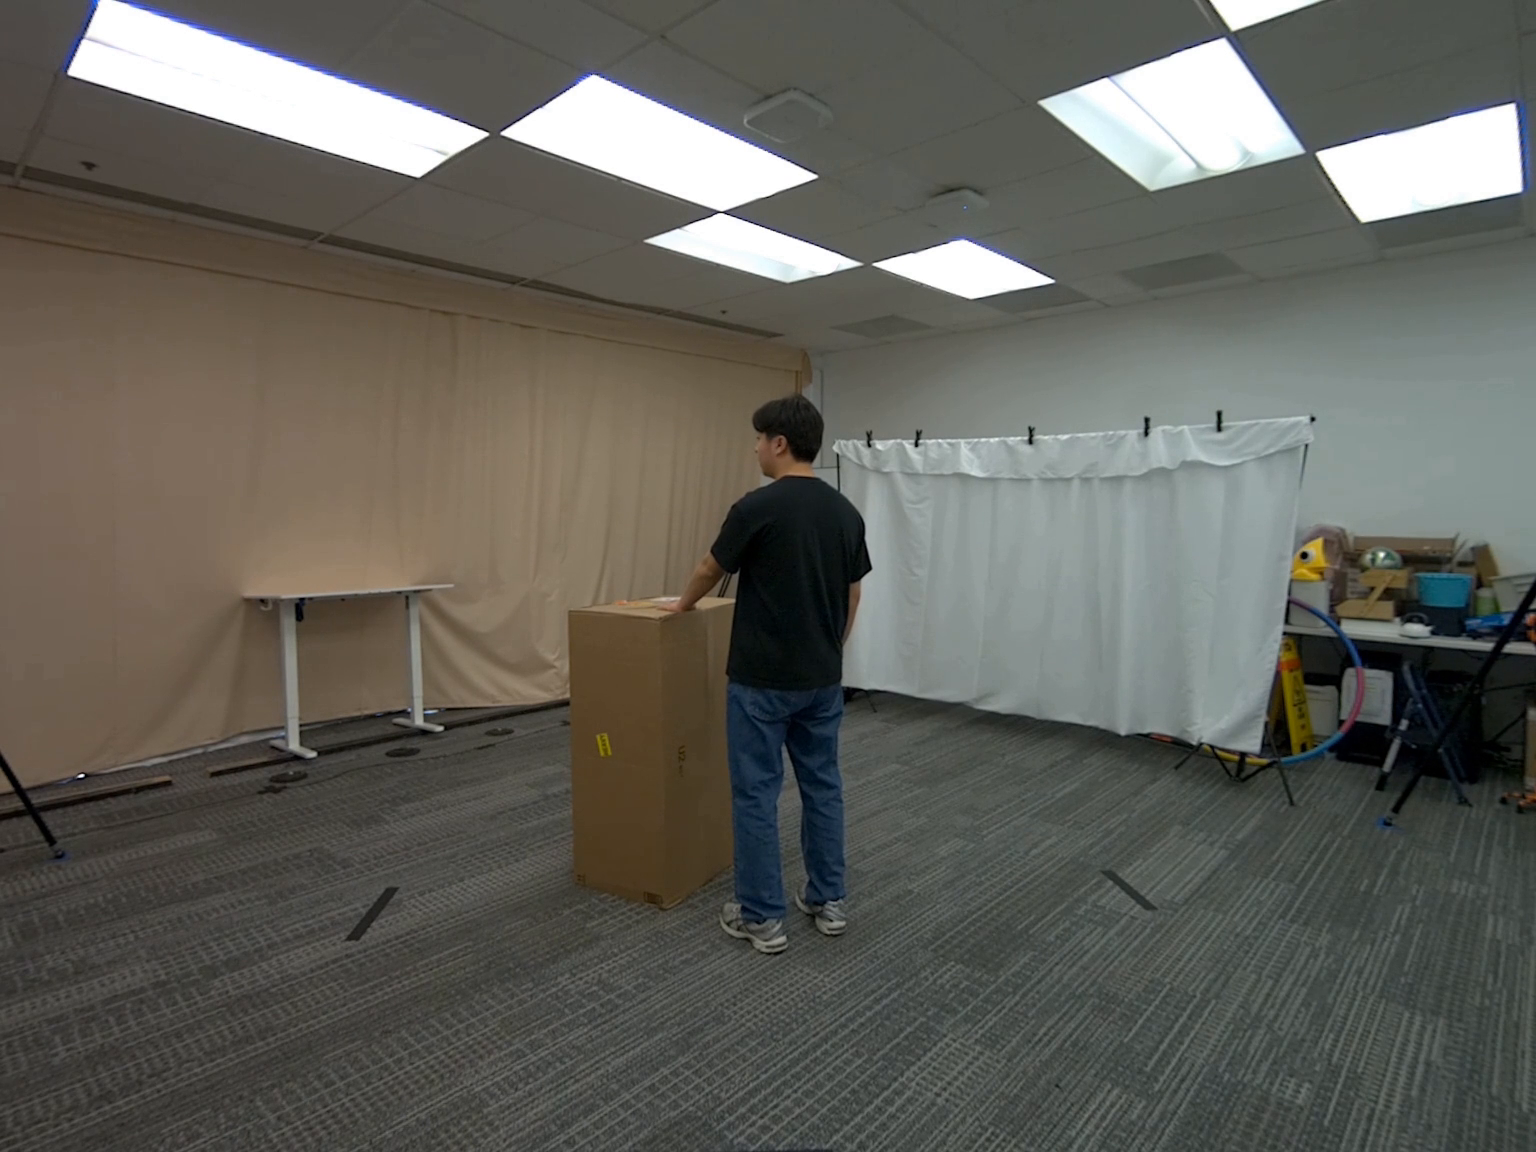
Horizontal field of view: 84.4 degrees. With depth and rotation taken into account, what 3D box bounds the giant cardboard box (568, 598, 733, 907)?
[{"bbox_3d":[-0.406,0.614,3.228,0.460,1.025,0.568,1,3,32],"label":"giant cardboard box"}]
